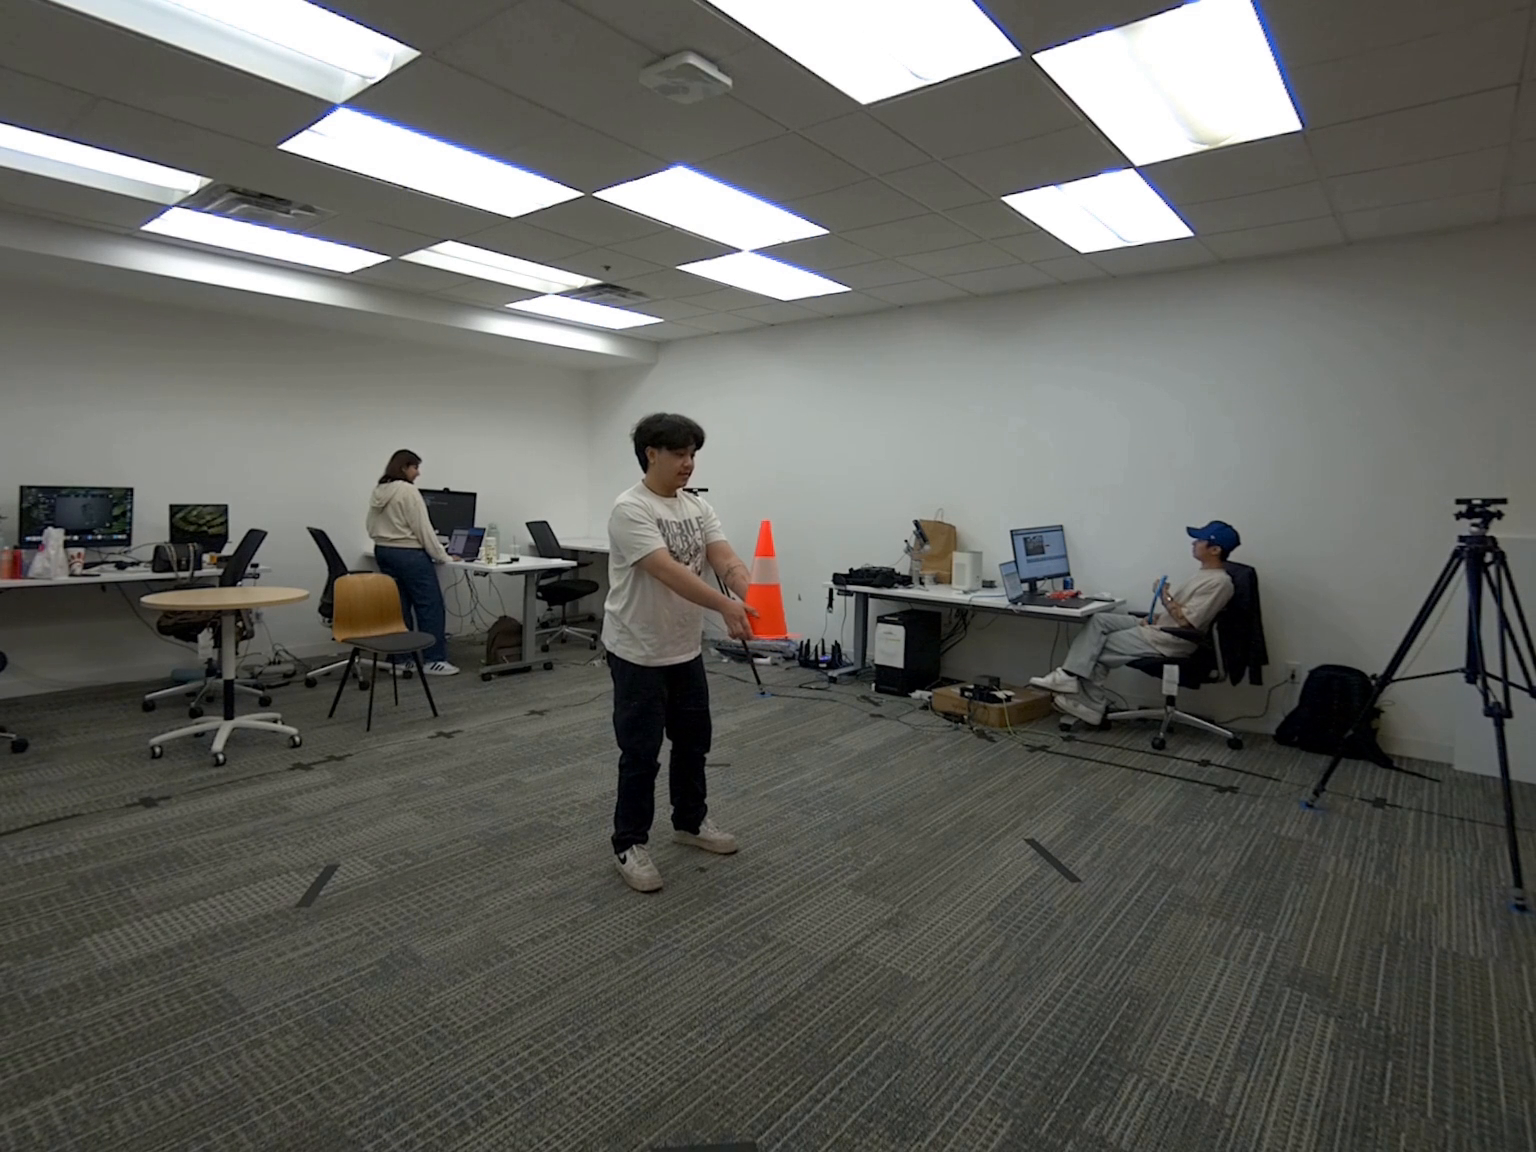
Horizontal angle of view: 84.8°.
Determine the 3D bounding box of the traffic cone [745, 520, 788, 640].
[{"bbox_3d":[-0.015,0.002,2.845,0.208,0.384,0.200,4,-1,21],"label":"traffic cone"}]
